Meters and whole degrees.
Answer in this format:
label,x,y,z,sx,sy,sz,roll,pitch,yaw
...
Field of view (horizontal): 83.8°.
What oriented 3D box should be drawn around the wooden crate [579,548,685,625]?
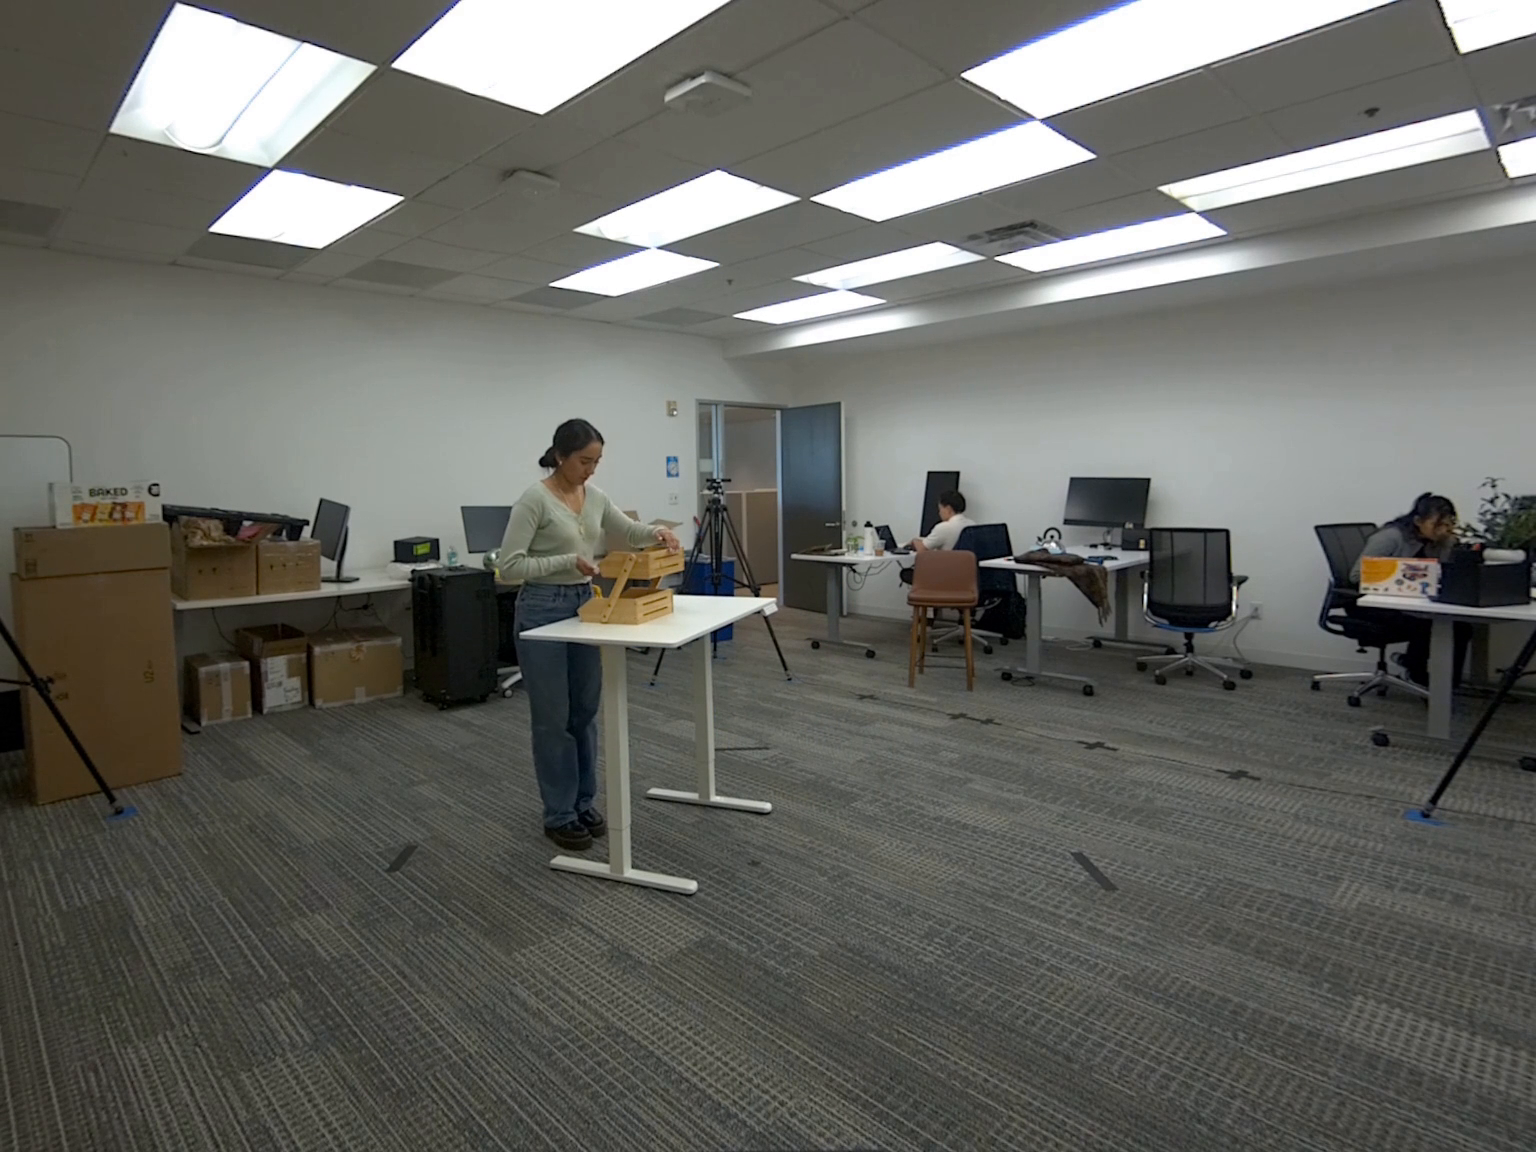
label,x,y,z,sx,sy,sz,roll,pitch,yaw
wooden crate,-0.514,0.028,3.224,0.308,0.272,0.320,1,6,20
